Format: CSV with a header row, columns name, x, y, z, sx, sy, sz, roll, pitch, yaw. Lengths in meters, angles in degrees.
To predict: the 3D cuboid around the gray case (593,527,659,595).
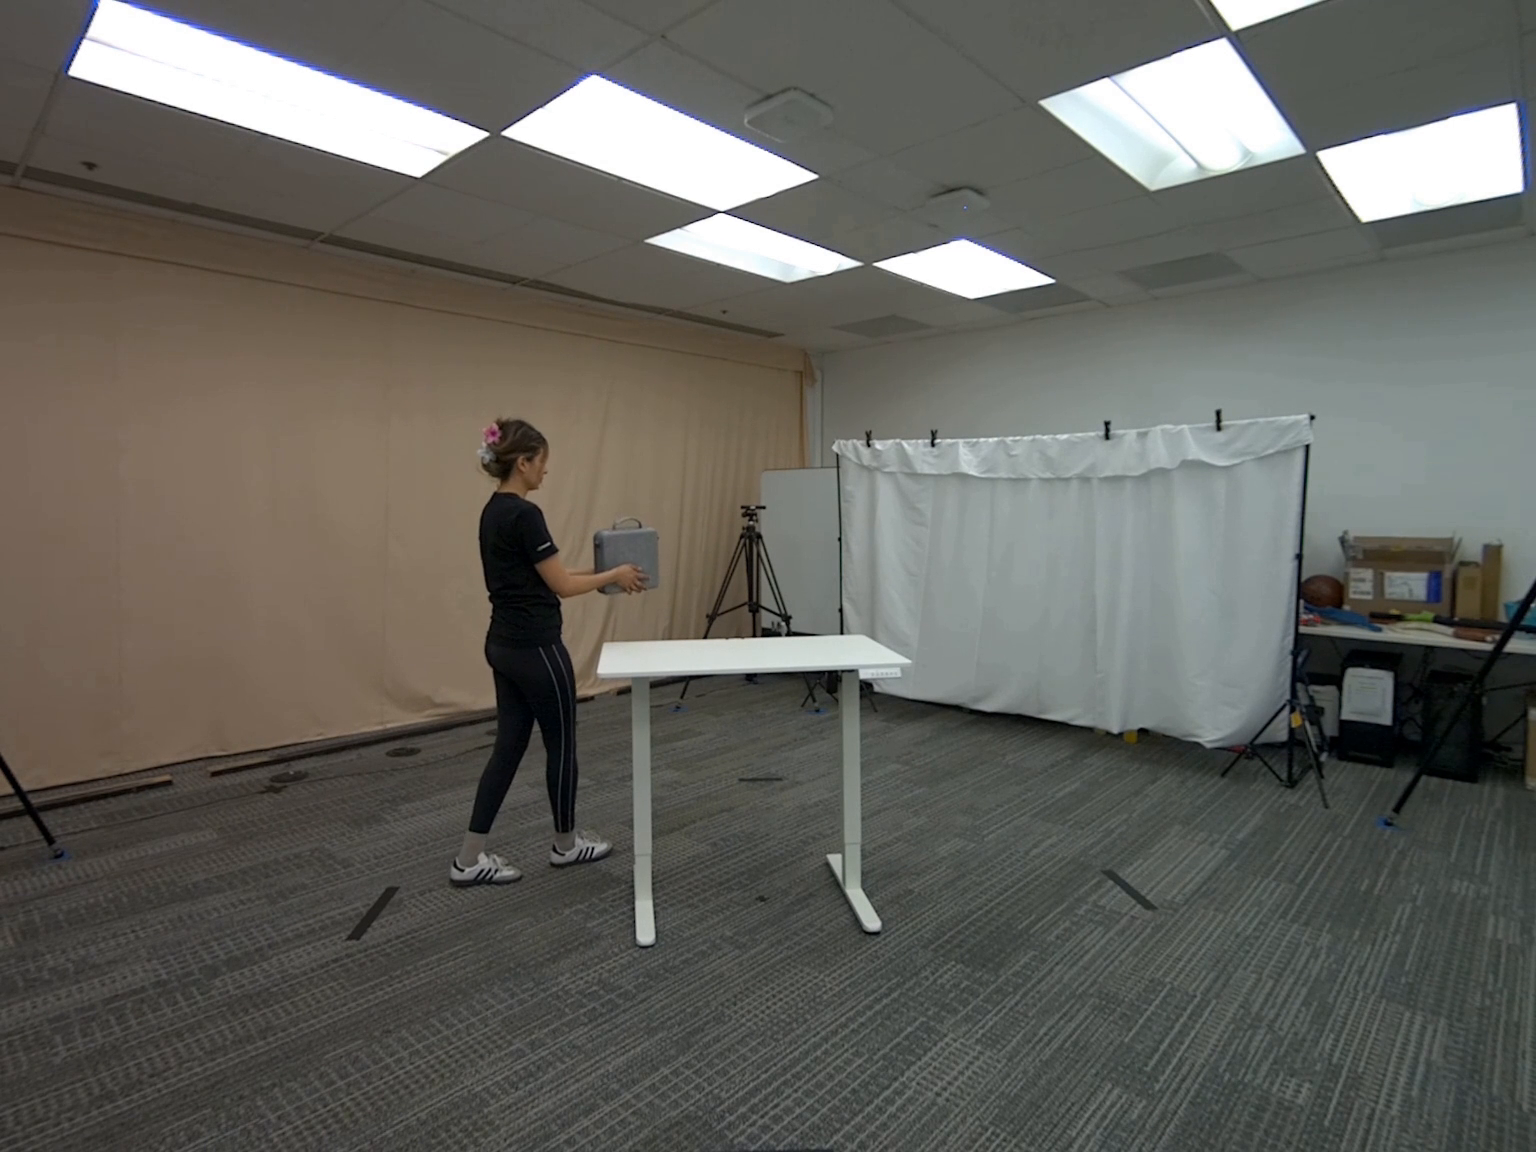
name,x,y,z,sx,sy,sz,roll,pitch,yaw
gray case,-0.560,-0.070,3.354,0.250,0.259,0.108,-7,13,-30
